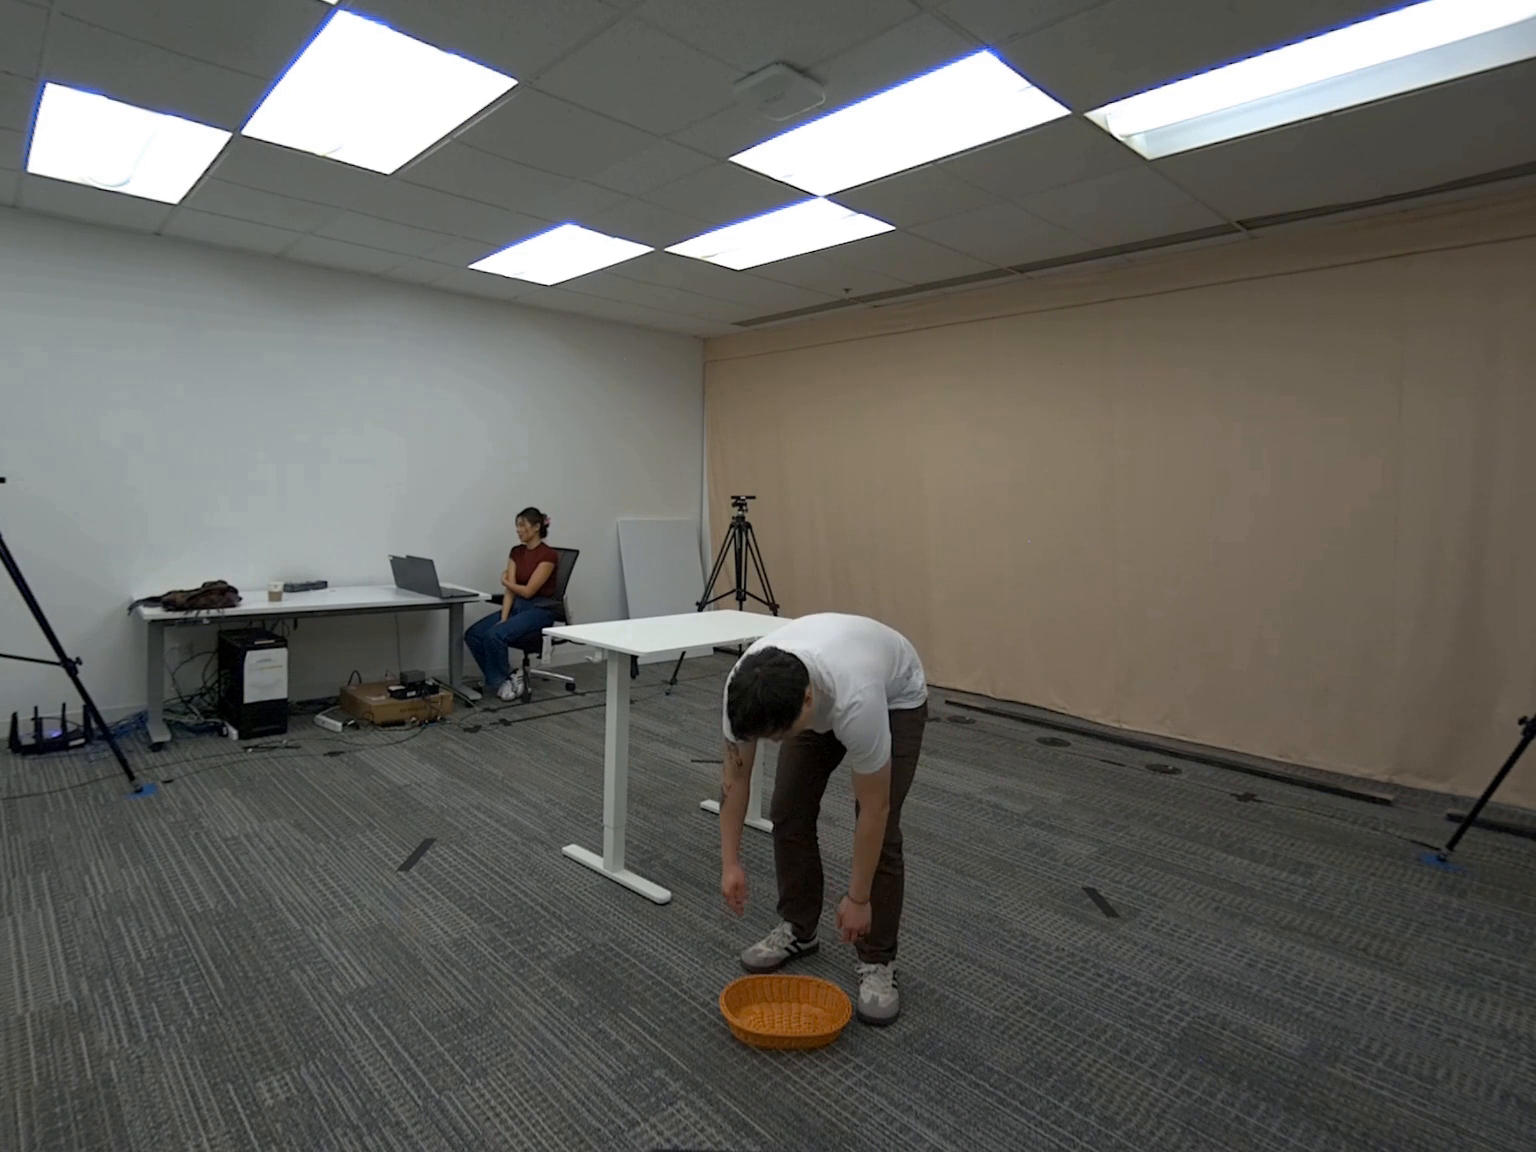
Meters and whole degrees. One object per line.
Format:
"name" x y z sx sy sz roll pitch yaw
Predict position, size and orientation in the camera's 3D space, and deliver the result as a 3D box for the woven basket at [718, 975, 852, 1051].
"woven basket" 0.034 1.157 2.206 0.351 0.073 0.253 2 6 2
